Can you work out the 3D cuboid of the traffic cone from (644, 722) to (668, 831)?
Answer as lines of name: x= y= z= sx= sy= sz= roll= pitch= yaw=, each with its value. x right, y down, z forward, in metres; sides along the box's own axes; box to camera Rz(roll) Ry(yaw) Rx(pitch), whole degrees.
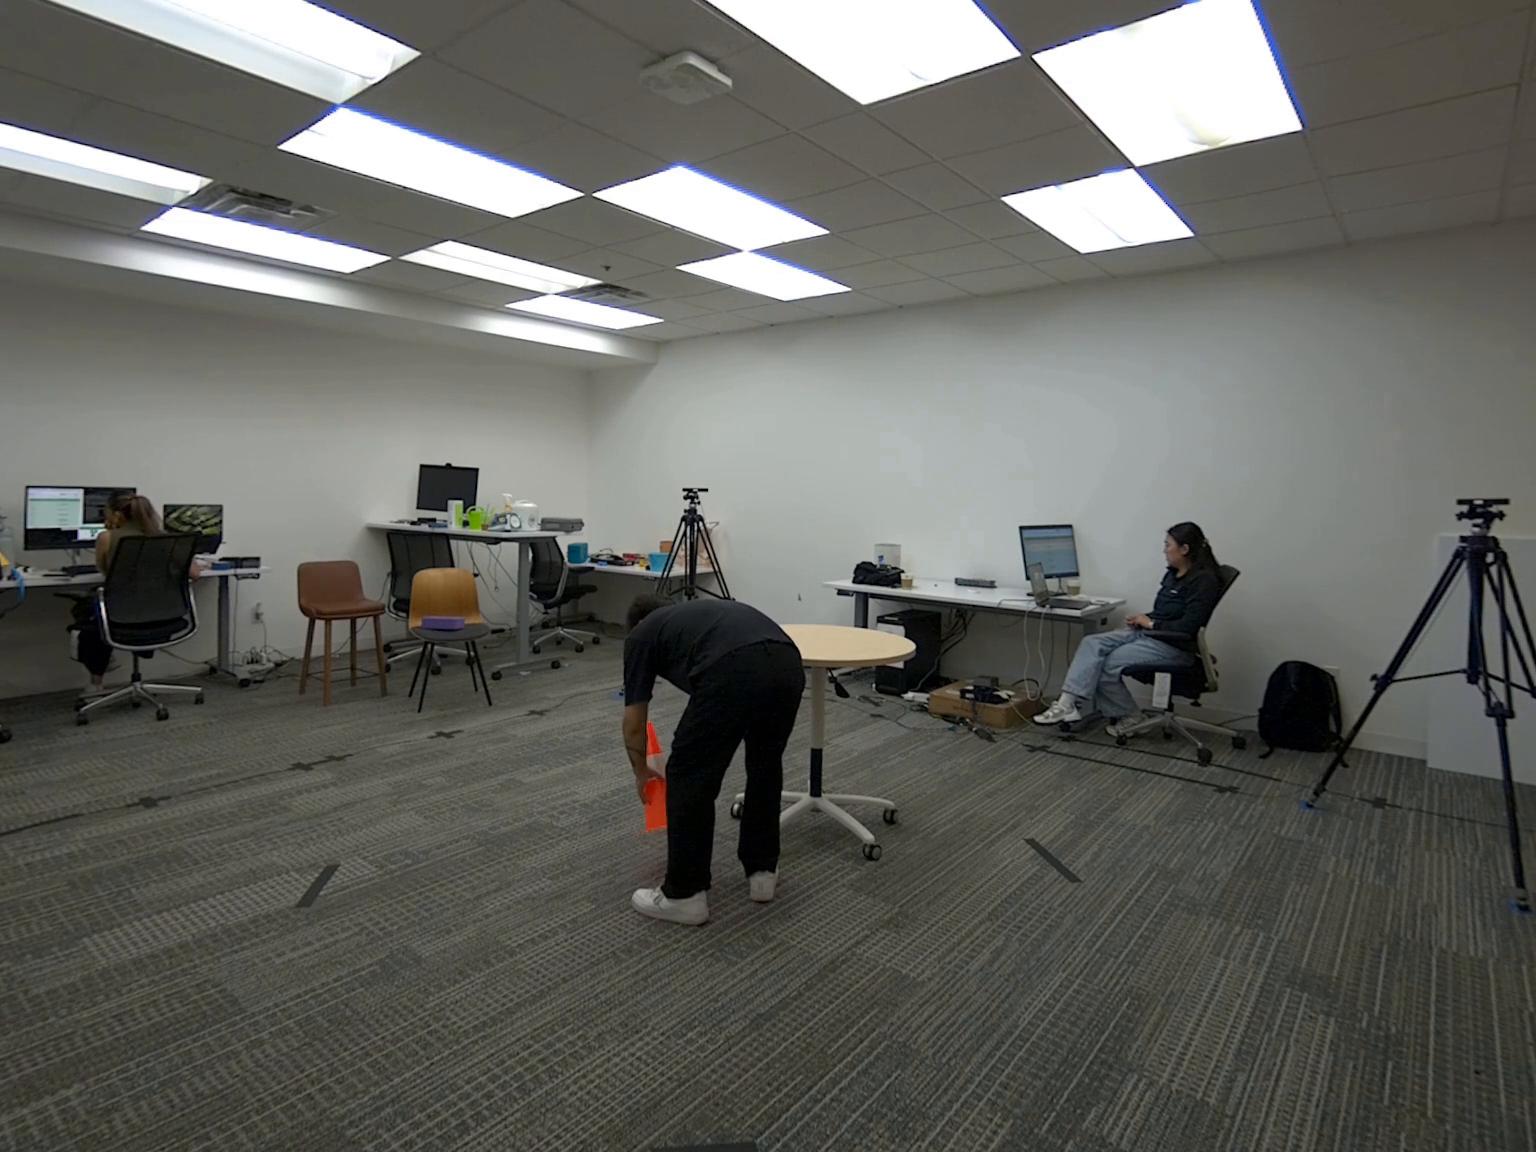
traffic cone: x=-0.419 y=0.735 z=3.161 sx=0.208 sy=0.390 sz=0.197 roll=-17 pitch=-14 yaw=21
